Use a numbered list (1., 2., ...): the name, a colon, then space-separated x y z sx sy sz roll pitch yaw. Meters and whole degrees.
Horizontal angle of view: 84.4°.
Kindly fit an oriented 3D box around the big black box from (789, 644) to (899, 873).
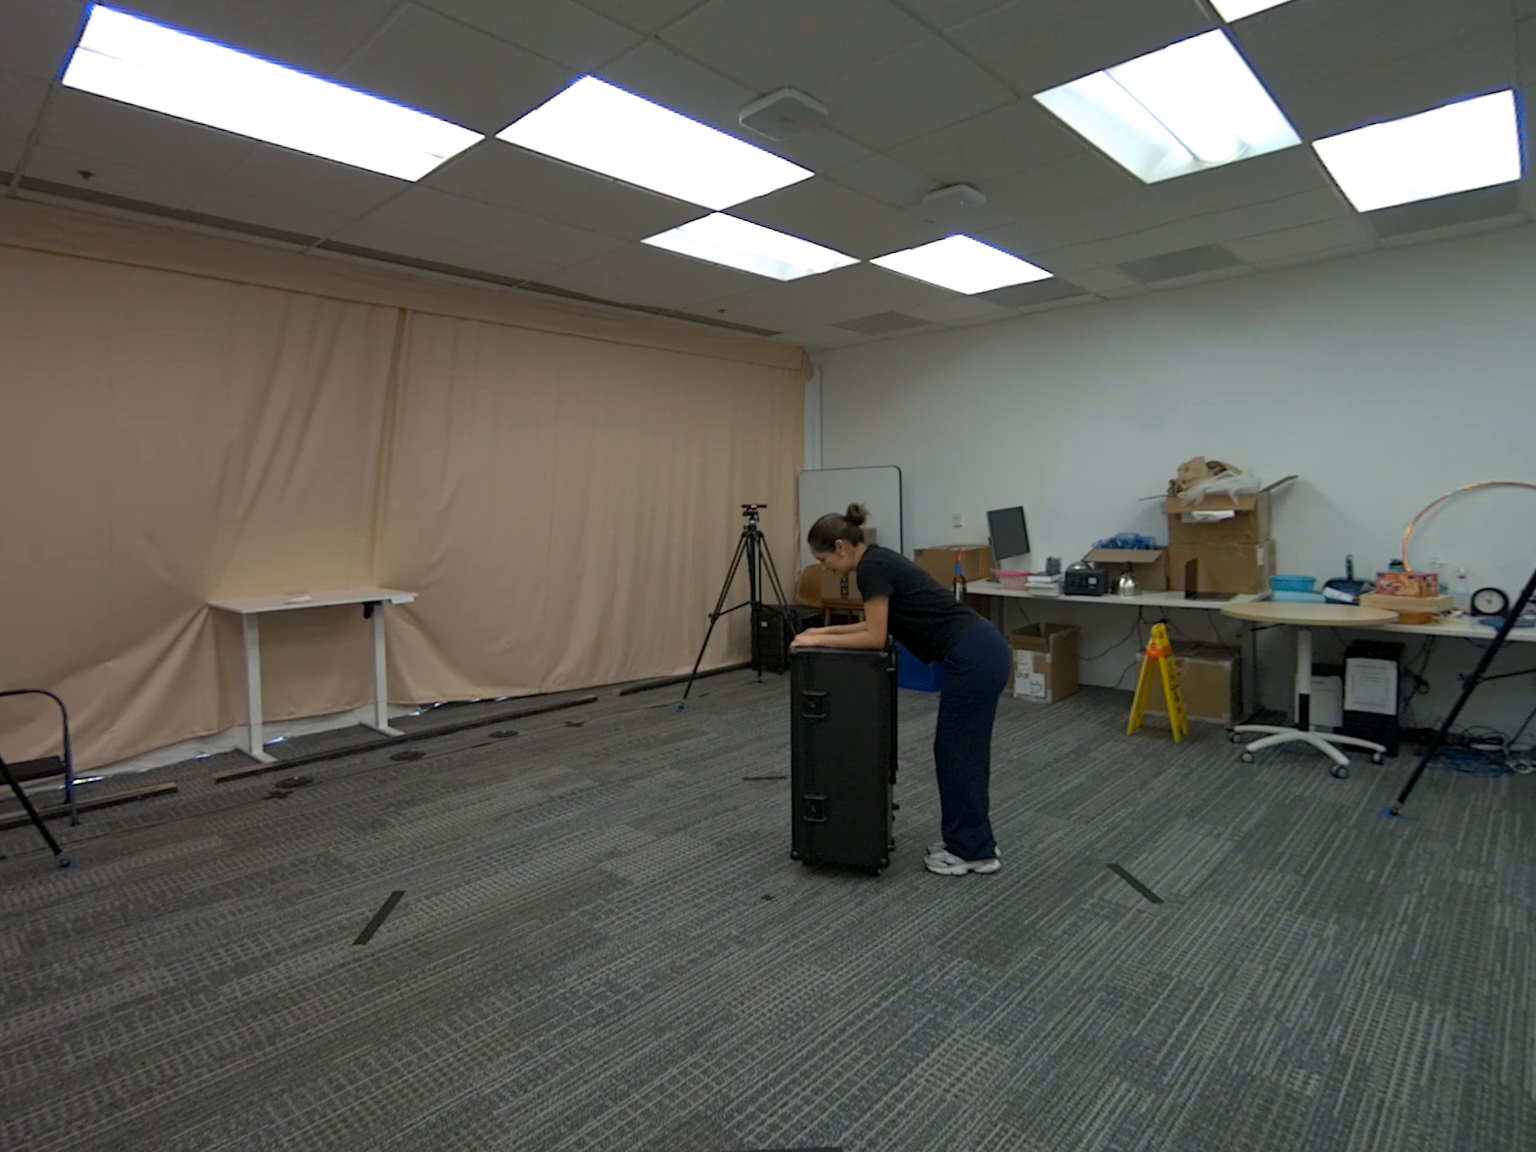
1. big black box: 0.324 0.617 3.291 0.402 0.860 0.515 -1 3 12
